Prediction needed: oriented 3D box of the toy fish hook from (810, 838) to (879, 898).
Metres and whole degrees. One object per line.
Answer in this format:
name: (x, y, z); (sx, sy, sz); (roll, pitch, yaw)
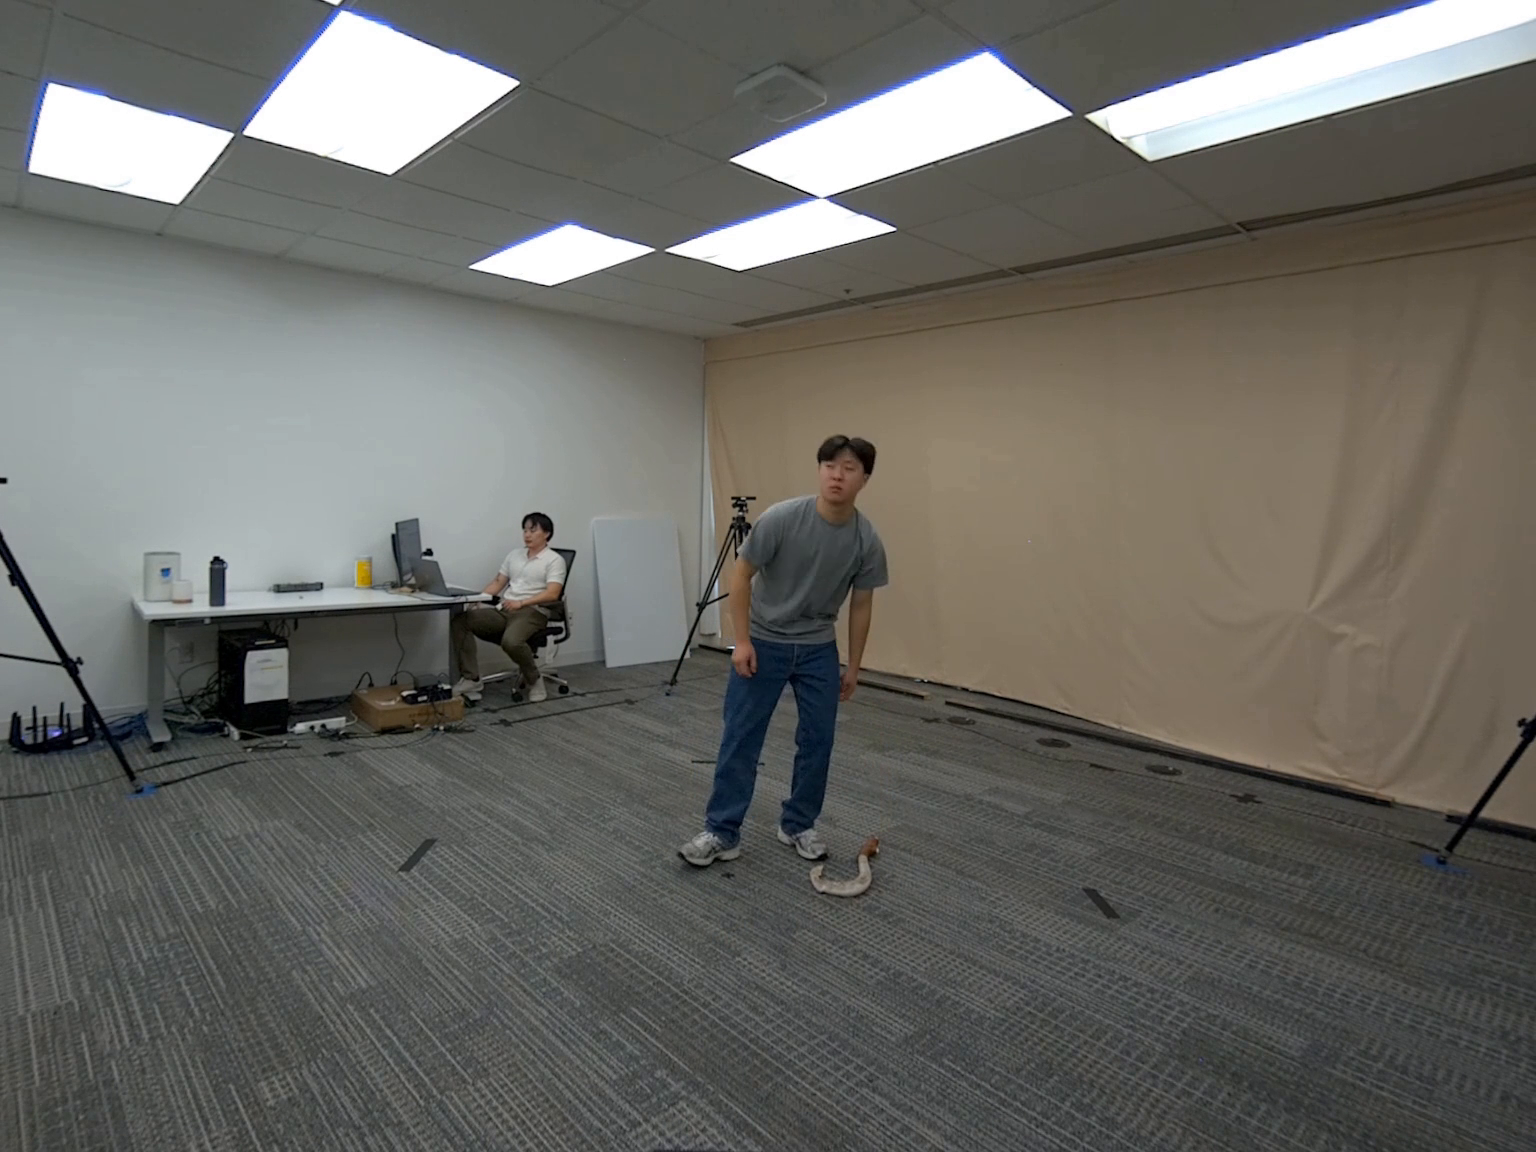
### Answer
toy fish hook: (0.293, 1.083, 3.187); (0.228, 0.048, 0.500); (4, 5, 17)
